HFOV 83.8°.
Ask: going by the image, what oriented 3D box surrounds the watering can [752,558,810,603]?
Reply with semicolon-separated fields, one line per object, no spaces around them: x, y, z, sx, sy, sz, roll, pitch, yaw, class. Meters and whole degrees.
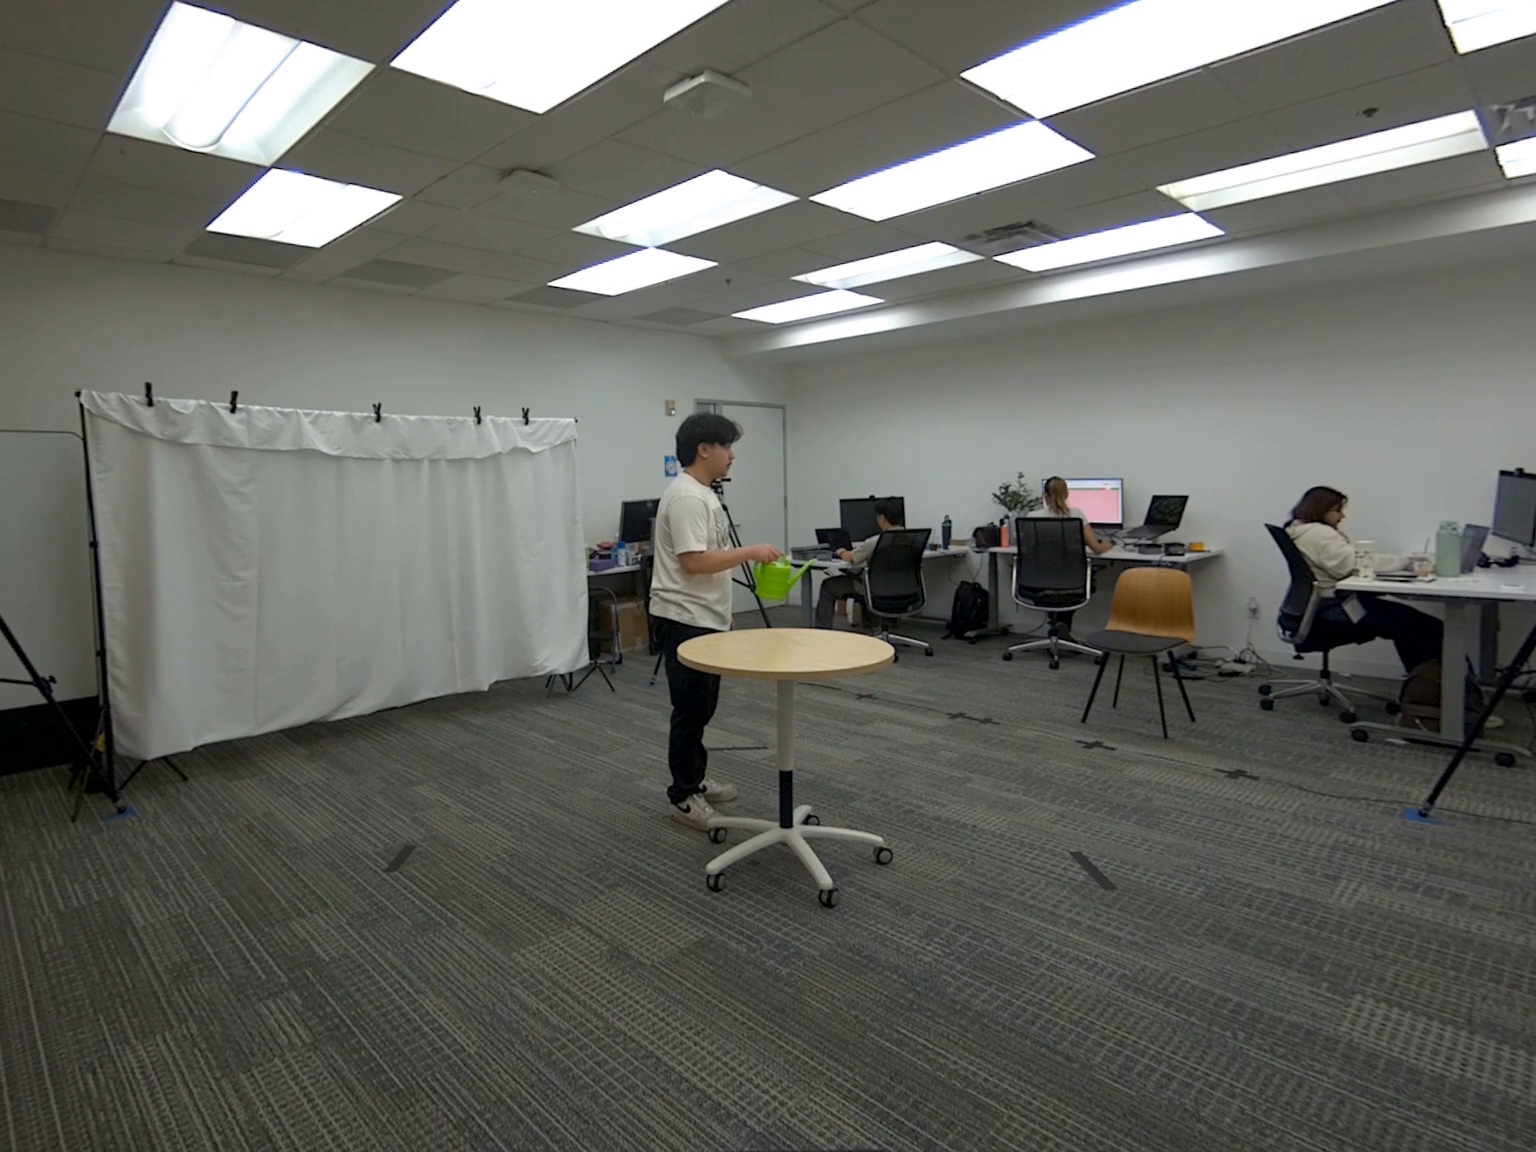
0.063;0.014;3.470;0.277;0.175;0.099;9;13;-3;watering can
